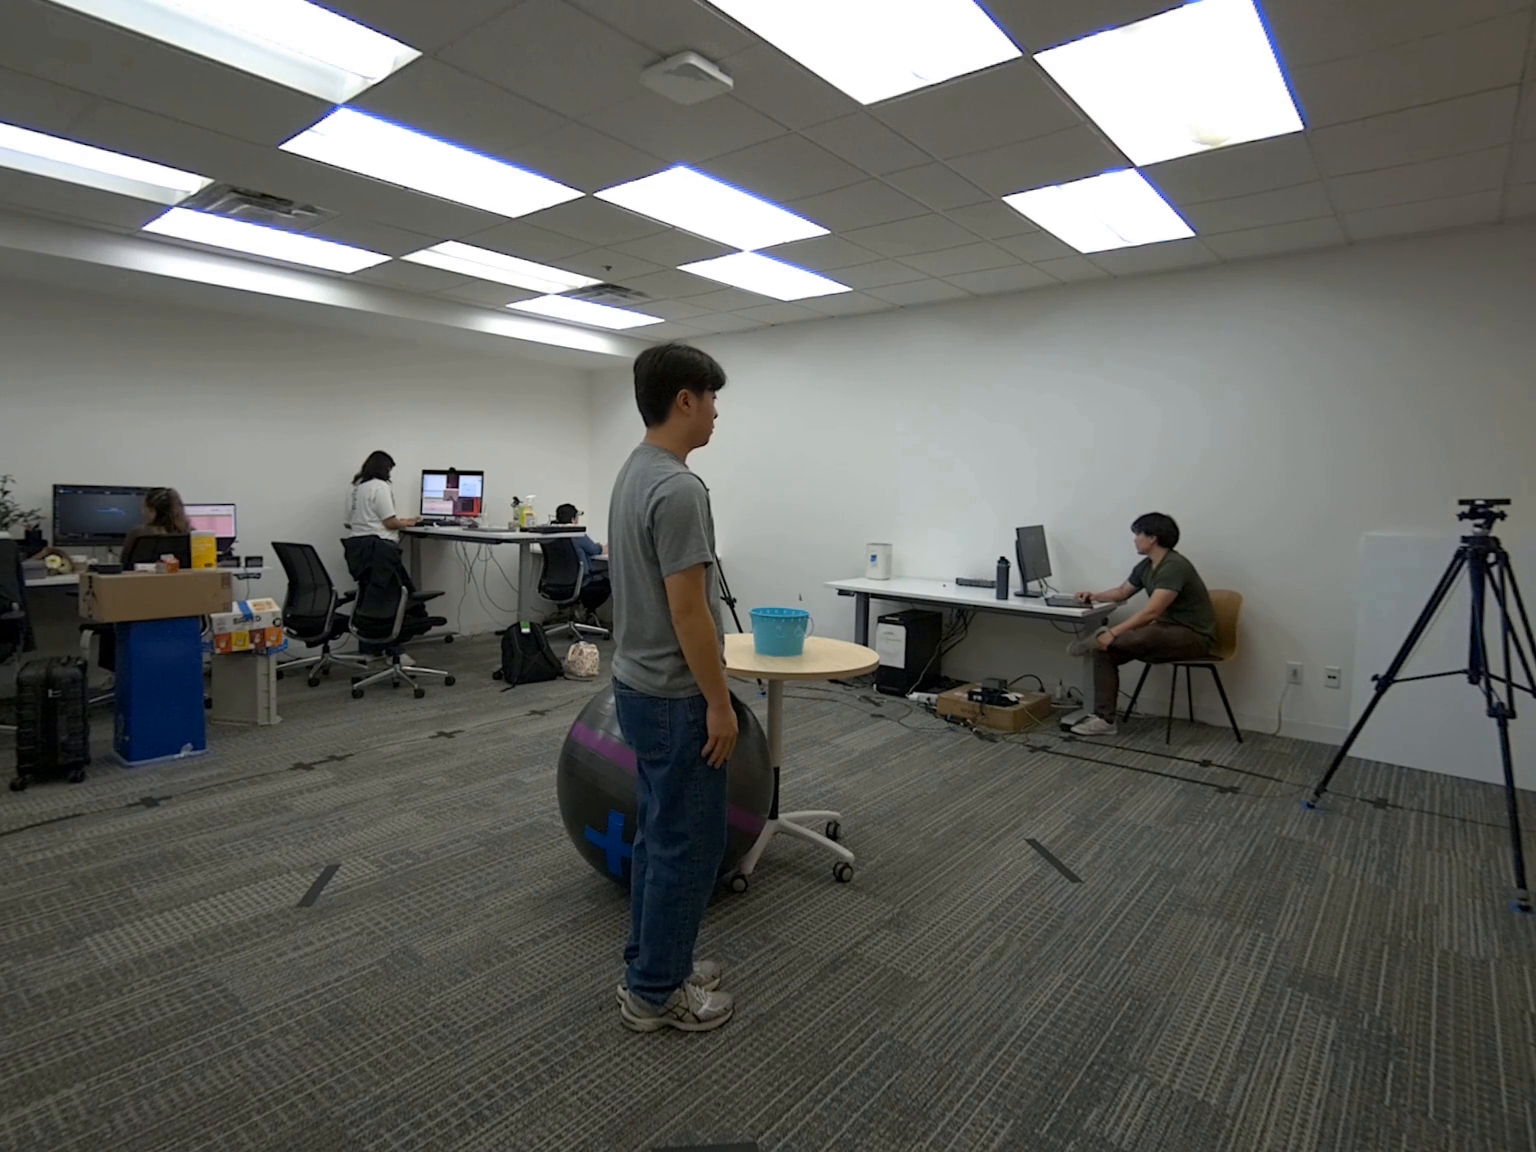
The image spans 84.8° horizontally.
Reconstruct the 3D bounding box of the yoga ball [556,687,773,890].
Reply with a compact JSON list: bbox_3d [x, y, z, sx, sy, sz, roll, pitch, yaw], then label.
[{"bbox_3d":[-0.385,0.711,2.984,0.757,0.755,0.762,1,4,-2],"label":"yoga ball"}]
